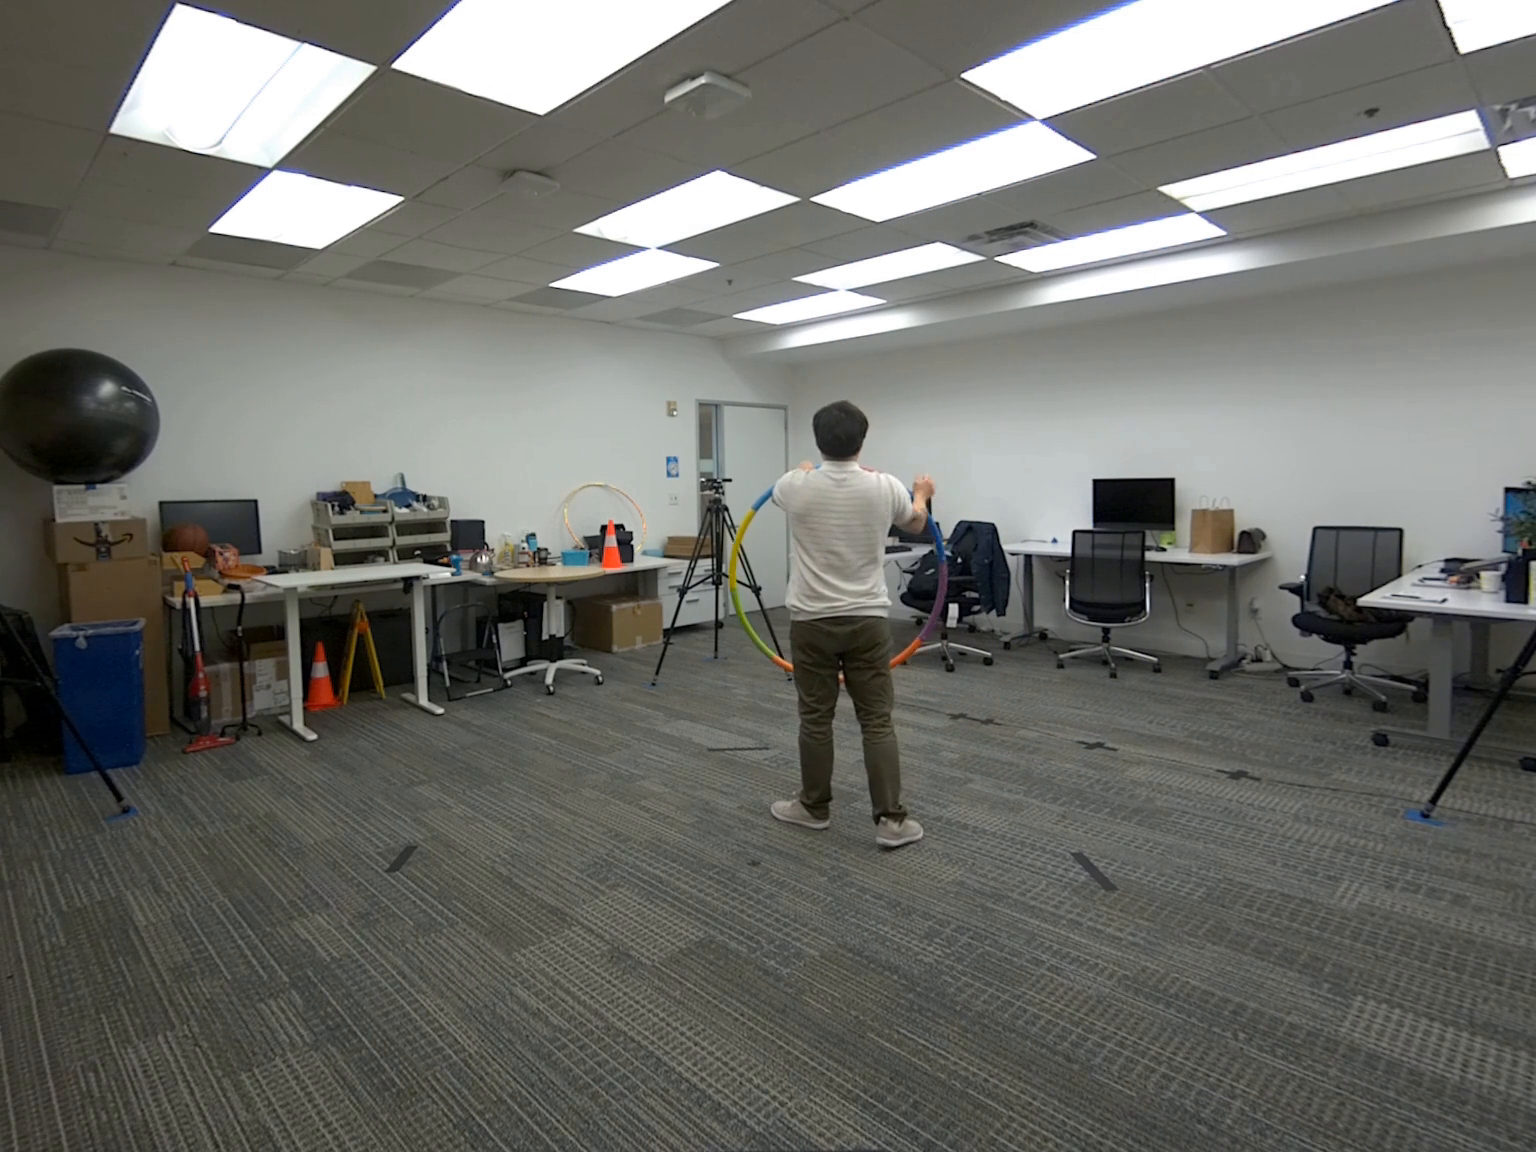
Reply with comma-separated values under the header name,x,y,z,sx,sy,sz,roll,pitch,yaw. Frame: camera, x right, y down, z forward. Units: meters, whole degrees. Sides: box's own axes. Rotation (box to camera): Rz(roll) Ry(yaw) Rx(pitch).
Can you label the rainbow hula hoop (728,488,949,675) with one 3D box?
name,x,y,z,sx,sy,sz,roll,pitch,yaw
rainbow hula hoop,0.311,0.000,3.845,0.984,0.972,0.035,0,6,6
